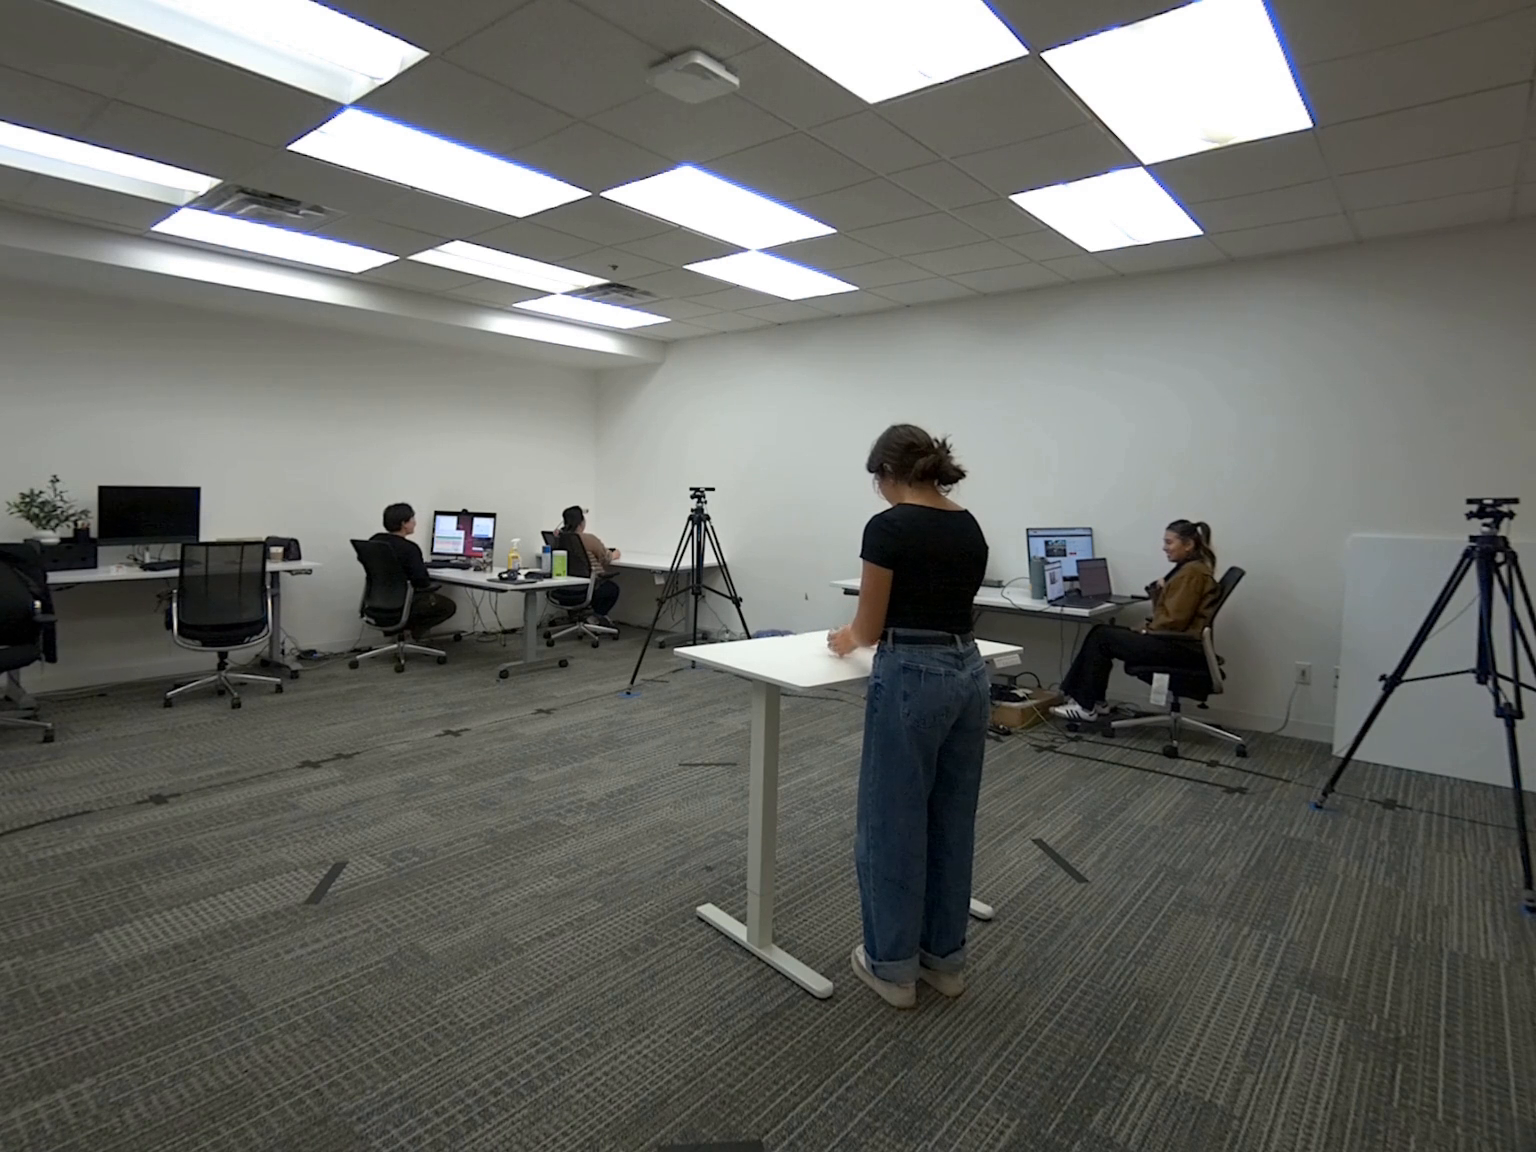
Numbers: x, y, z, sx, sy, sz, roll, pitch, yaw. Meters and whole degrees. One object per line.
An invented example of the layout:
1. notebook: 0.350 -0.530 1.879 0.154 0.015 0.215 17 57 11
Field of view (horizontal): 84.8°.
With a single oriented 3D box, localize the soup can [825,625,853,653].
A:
1. soup can: 0.227 0.200 2.710 0.067 0.067 0.122 1 5 -4
